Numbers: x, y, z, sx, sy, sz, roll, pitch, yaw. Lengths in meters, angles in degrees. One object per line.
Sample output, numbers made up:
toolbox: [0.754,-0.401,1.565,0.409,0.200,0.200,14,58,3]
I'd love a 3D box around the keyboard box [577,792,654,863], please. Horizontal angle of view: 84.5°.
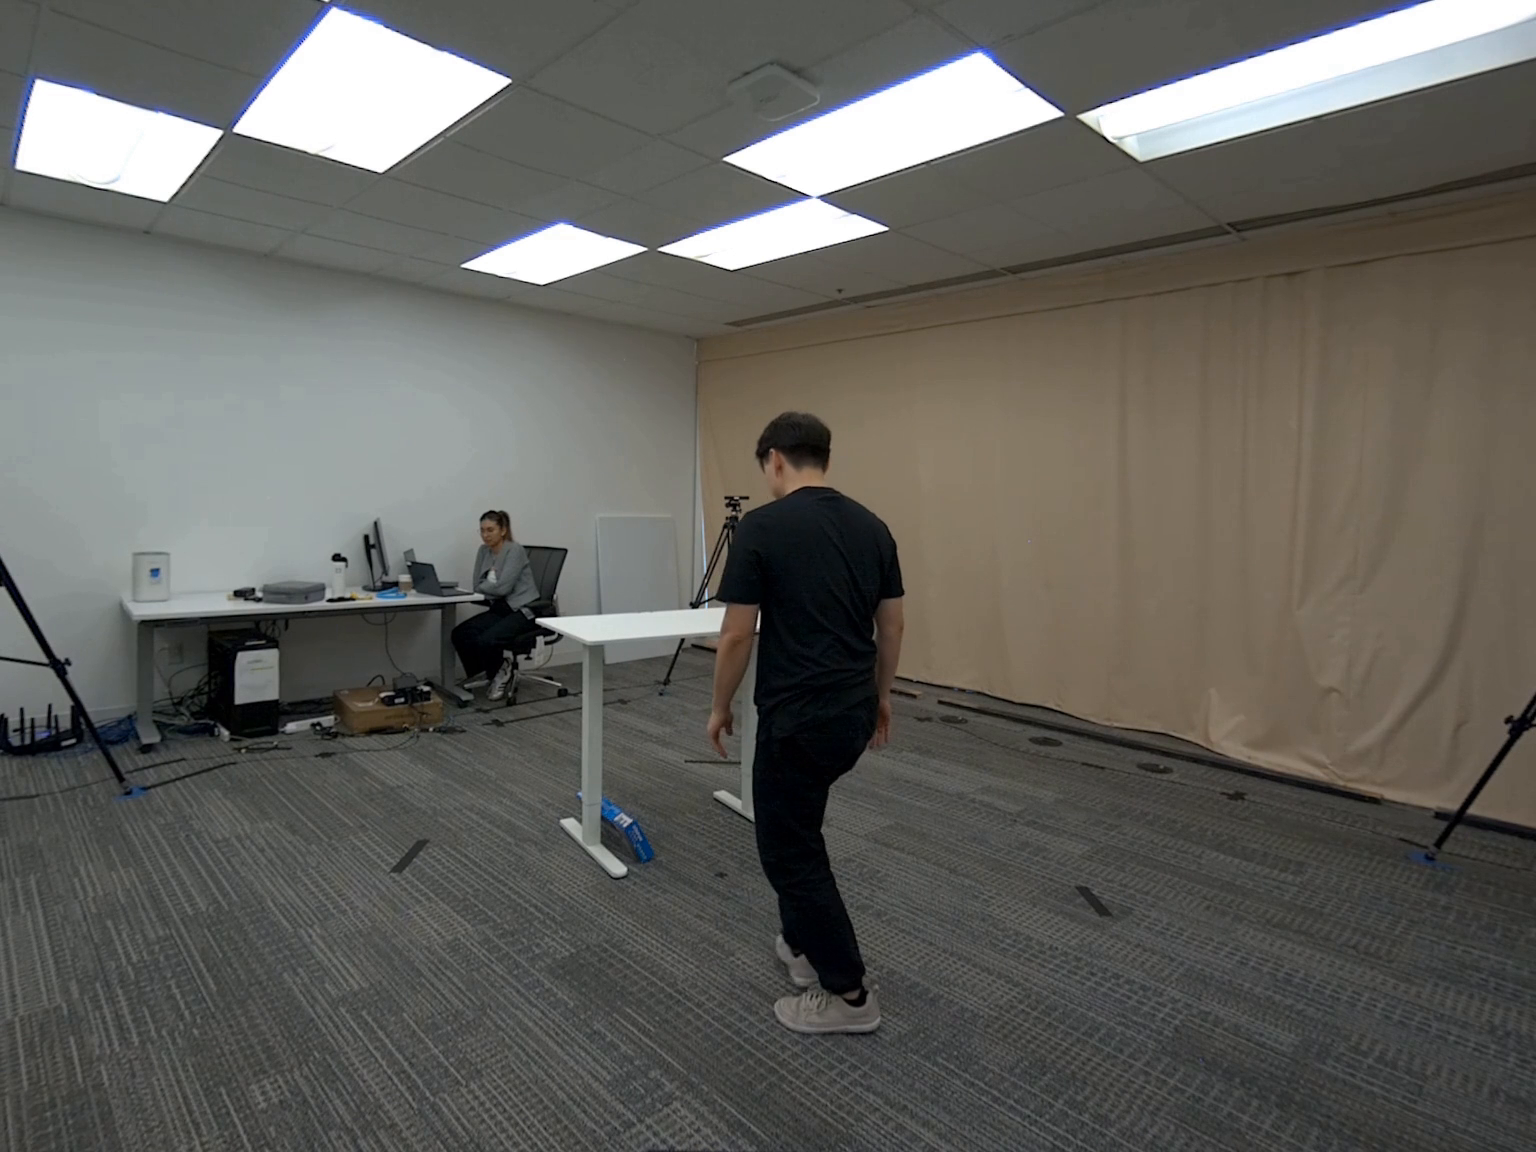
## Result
keyboard box: [-0.621,0.988,3.350,0.059,0.173,0.447,-32,22,-29]
